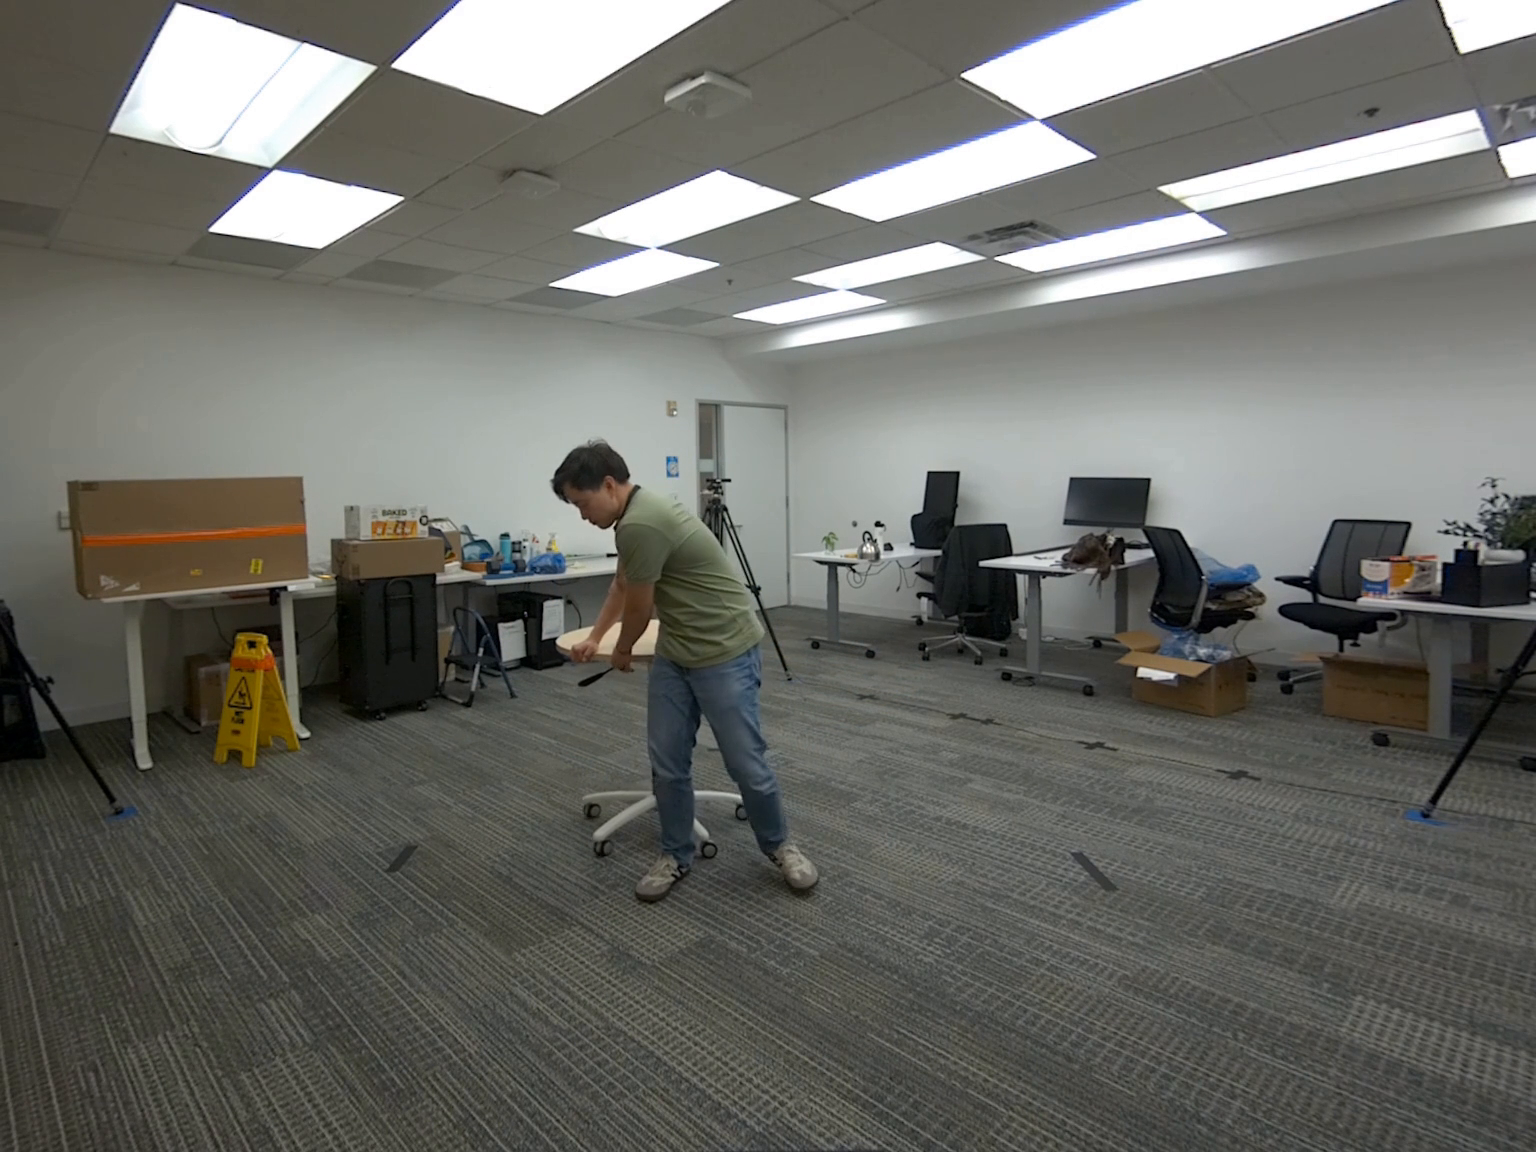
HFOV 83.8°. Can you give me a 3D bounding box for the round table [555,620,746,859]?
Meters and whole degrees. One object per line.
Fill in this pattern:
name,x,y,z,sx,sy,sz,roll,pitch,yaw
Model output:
round table,-0.441,0.630,3.413,0.763,0.791,0.768,-2,5,-2
